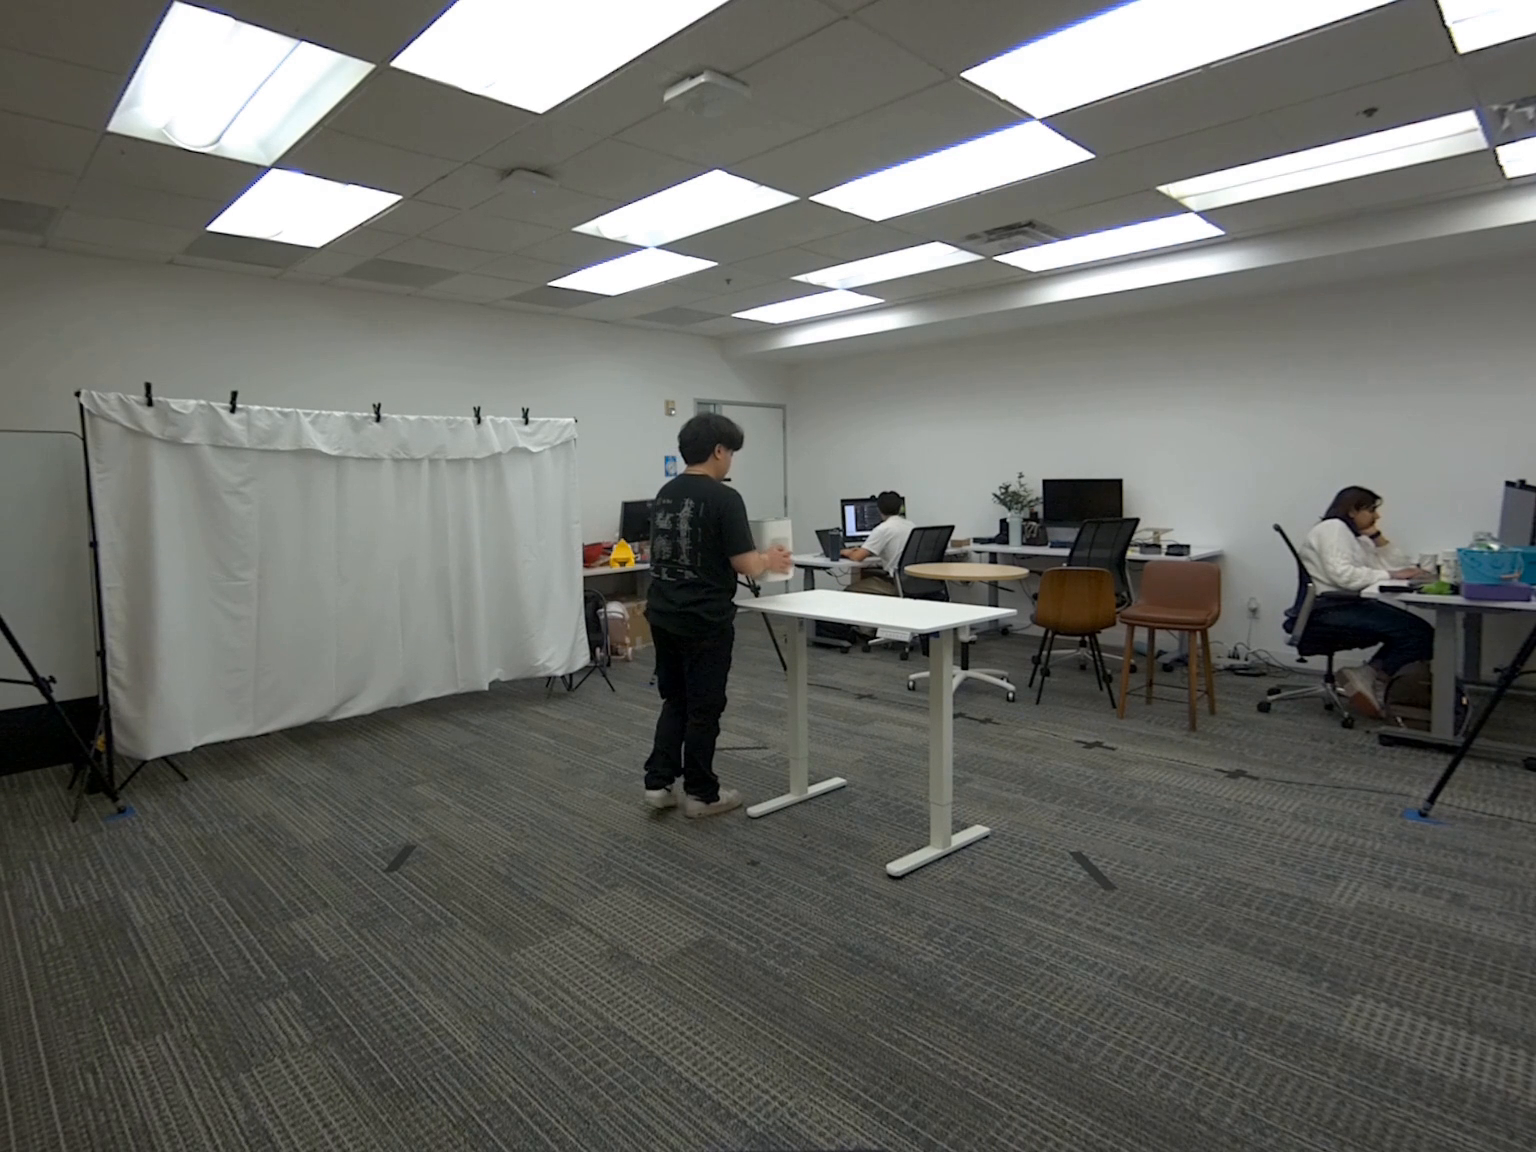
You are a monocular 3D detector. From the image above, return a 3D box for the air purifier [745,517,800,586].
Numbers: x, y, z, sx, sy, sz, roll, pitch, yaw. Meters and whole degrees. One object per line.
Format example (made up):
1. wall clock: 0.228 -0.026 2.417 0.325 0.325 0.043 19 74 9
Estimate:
1. air purifier: 0.010 -0.113 3.689 0.168 0.264 0.176 -6 7 -28
